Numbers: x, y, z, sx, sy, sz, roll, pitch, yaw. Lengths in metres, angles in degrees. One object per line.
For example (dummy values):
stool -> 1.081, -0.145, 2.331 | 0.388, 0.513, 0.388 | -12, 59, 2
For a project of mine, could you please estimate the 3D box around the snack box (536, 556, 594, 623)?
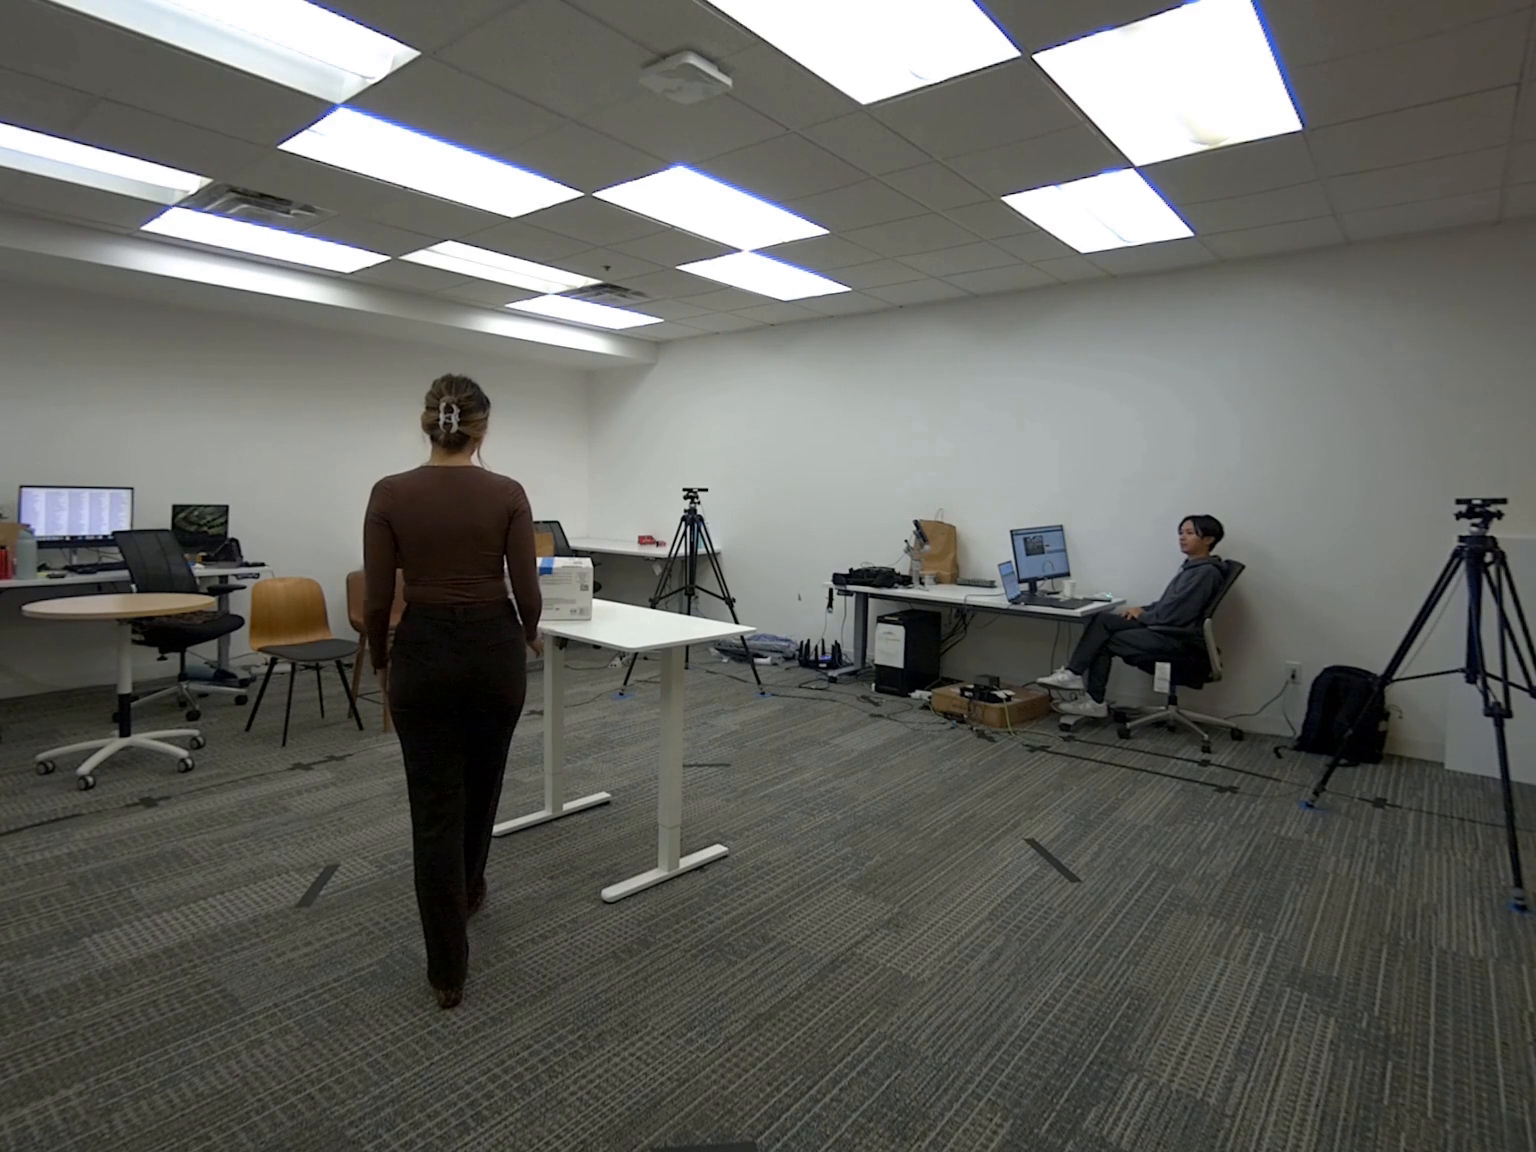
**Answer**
snack box -> -0.888, 0.046, 3.401 | 0.337, 0.205, 0.411 | -1, 6, -11
